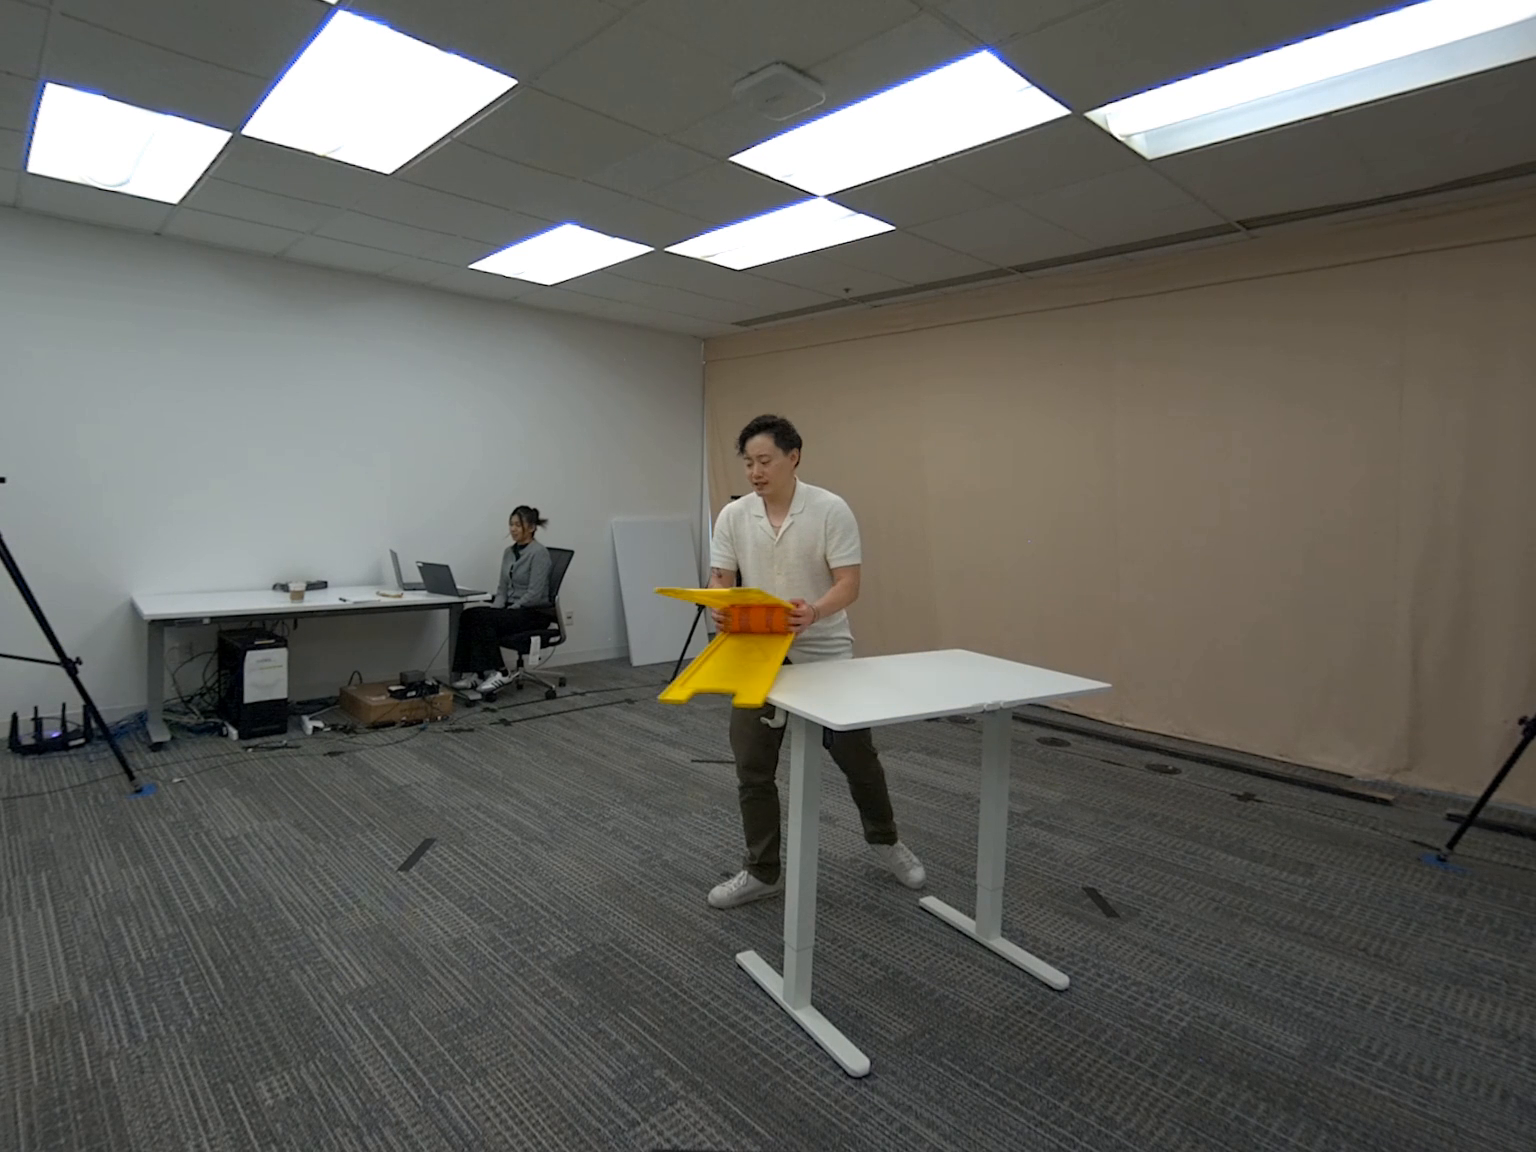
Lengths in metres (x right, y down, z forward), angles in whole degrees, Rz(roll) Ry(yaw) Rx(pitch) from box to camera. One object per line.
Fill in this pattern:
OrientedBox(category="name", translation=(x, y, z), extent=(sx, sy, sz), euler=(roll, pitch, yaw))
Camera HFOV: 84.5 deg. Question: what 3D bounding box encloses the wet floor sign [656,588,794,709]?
OrientedBox(category="wet floor sign", translation=(-0.066, 0.151, 2.433), extent=(0.286, 0.289, 0.639), euler=(-1, 6, 18))
